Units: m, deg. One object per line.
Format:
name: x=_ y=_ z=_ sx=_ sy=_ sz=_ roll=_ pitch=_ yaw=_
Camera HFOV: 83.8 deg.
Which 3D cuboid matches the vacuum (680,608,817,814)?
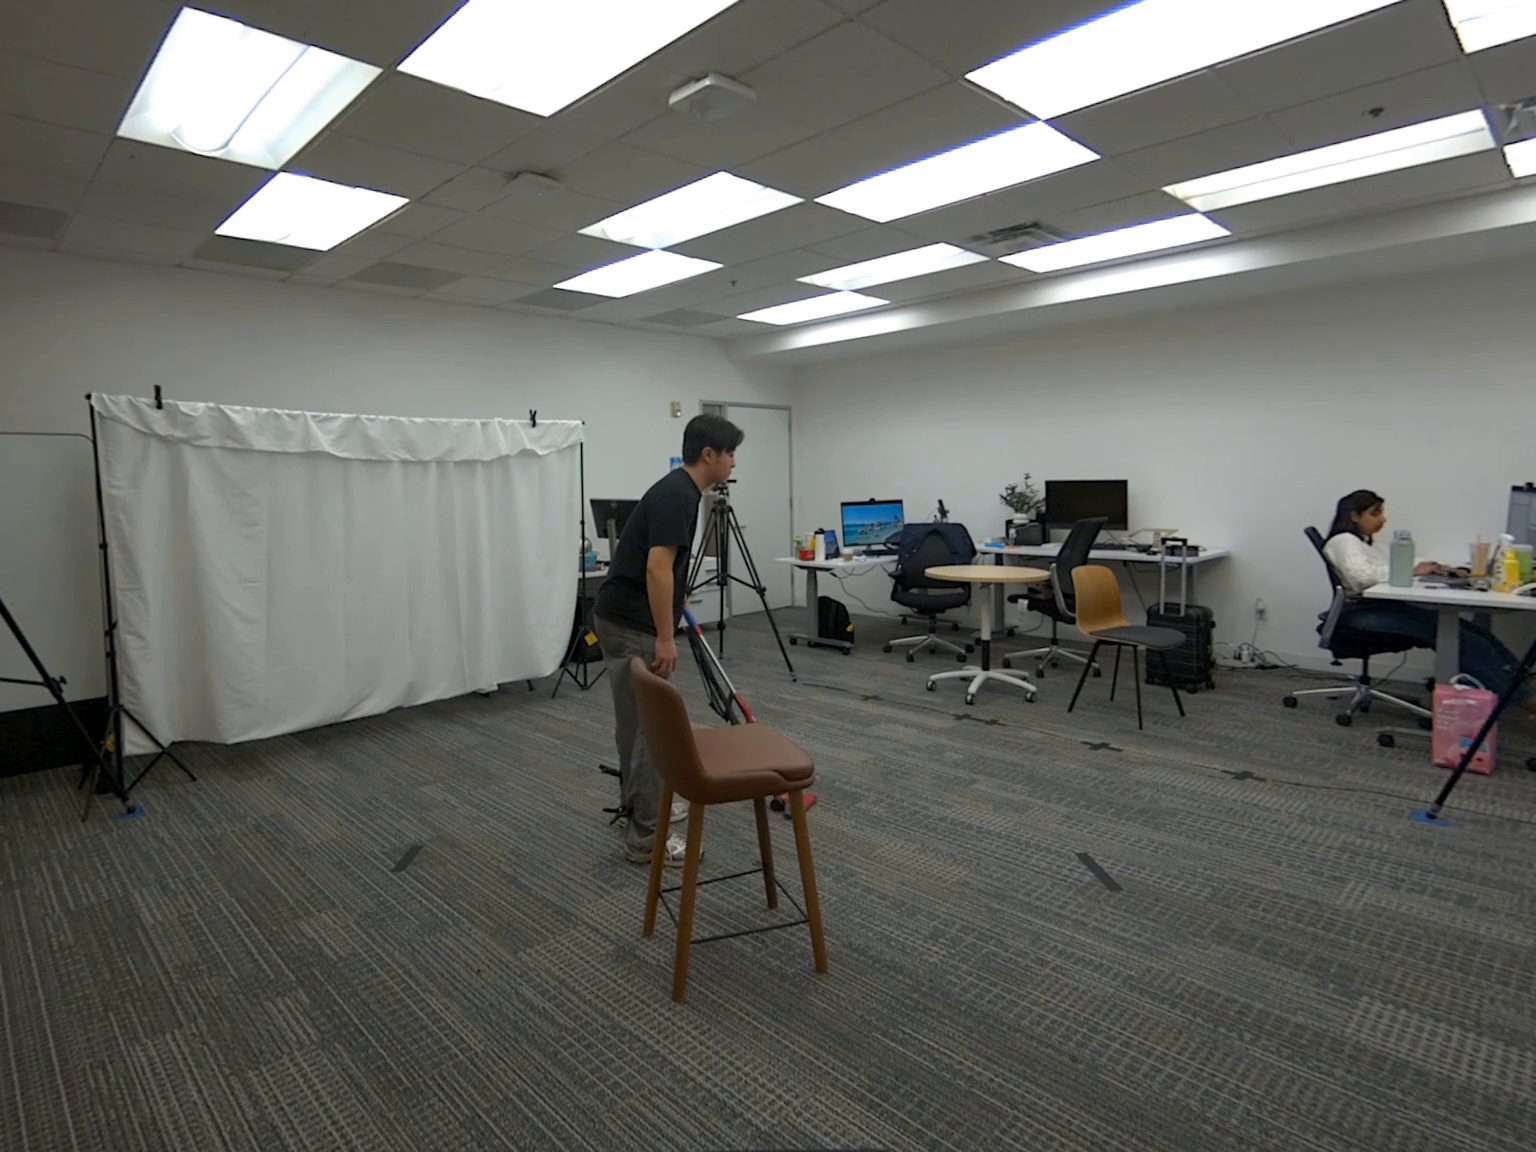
vacuum: x=-0.162 y=0.540 z=3.736 sx=0.144 sy=1.065 sz=0.248 roll=-37 pitch=-12 yaw=20
